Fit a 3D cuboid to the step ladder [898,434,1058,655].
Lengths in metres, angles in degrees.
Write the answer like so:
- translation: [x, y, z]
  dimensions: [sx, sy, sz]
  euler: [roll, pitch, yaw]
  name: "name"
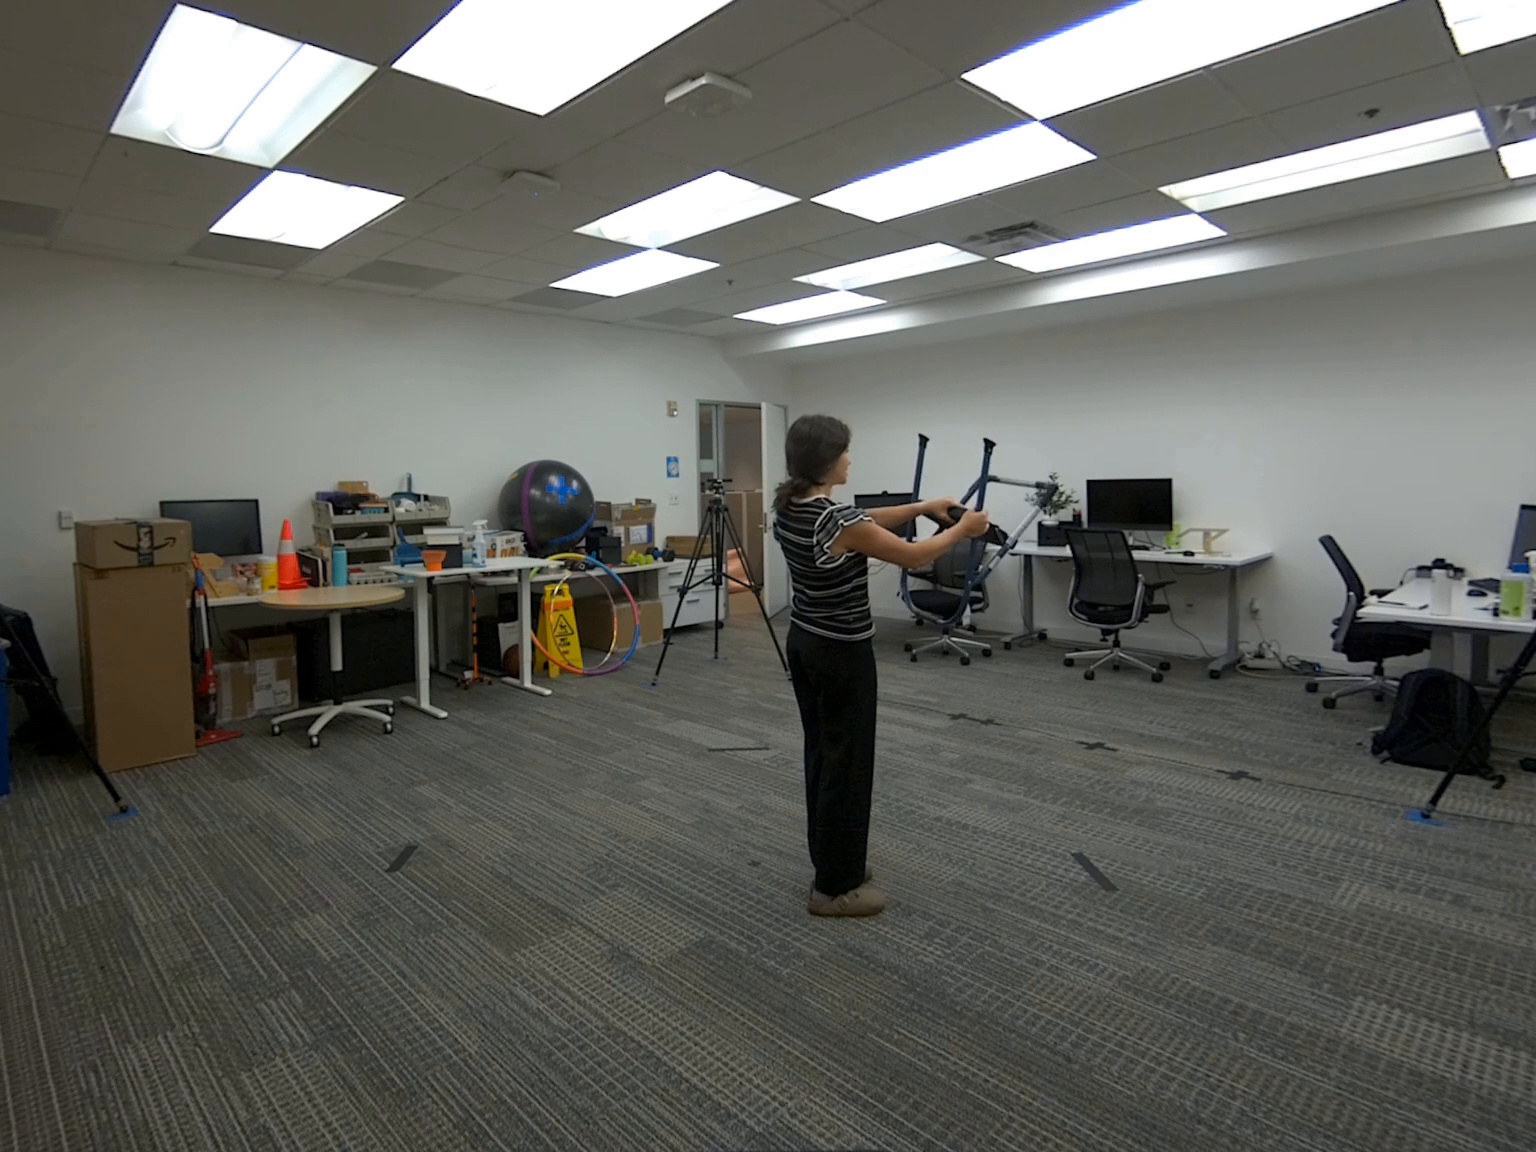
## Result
- translation: [0.646, -0.146, 3.019]
  dimensions: [0.340, 0.606, 0.442]
  euler: [27, -1, -23]
  name: "step ladder"
